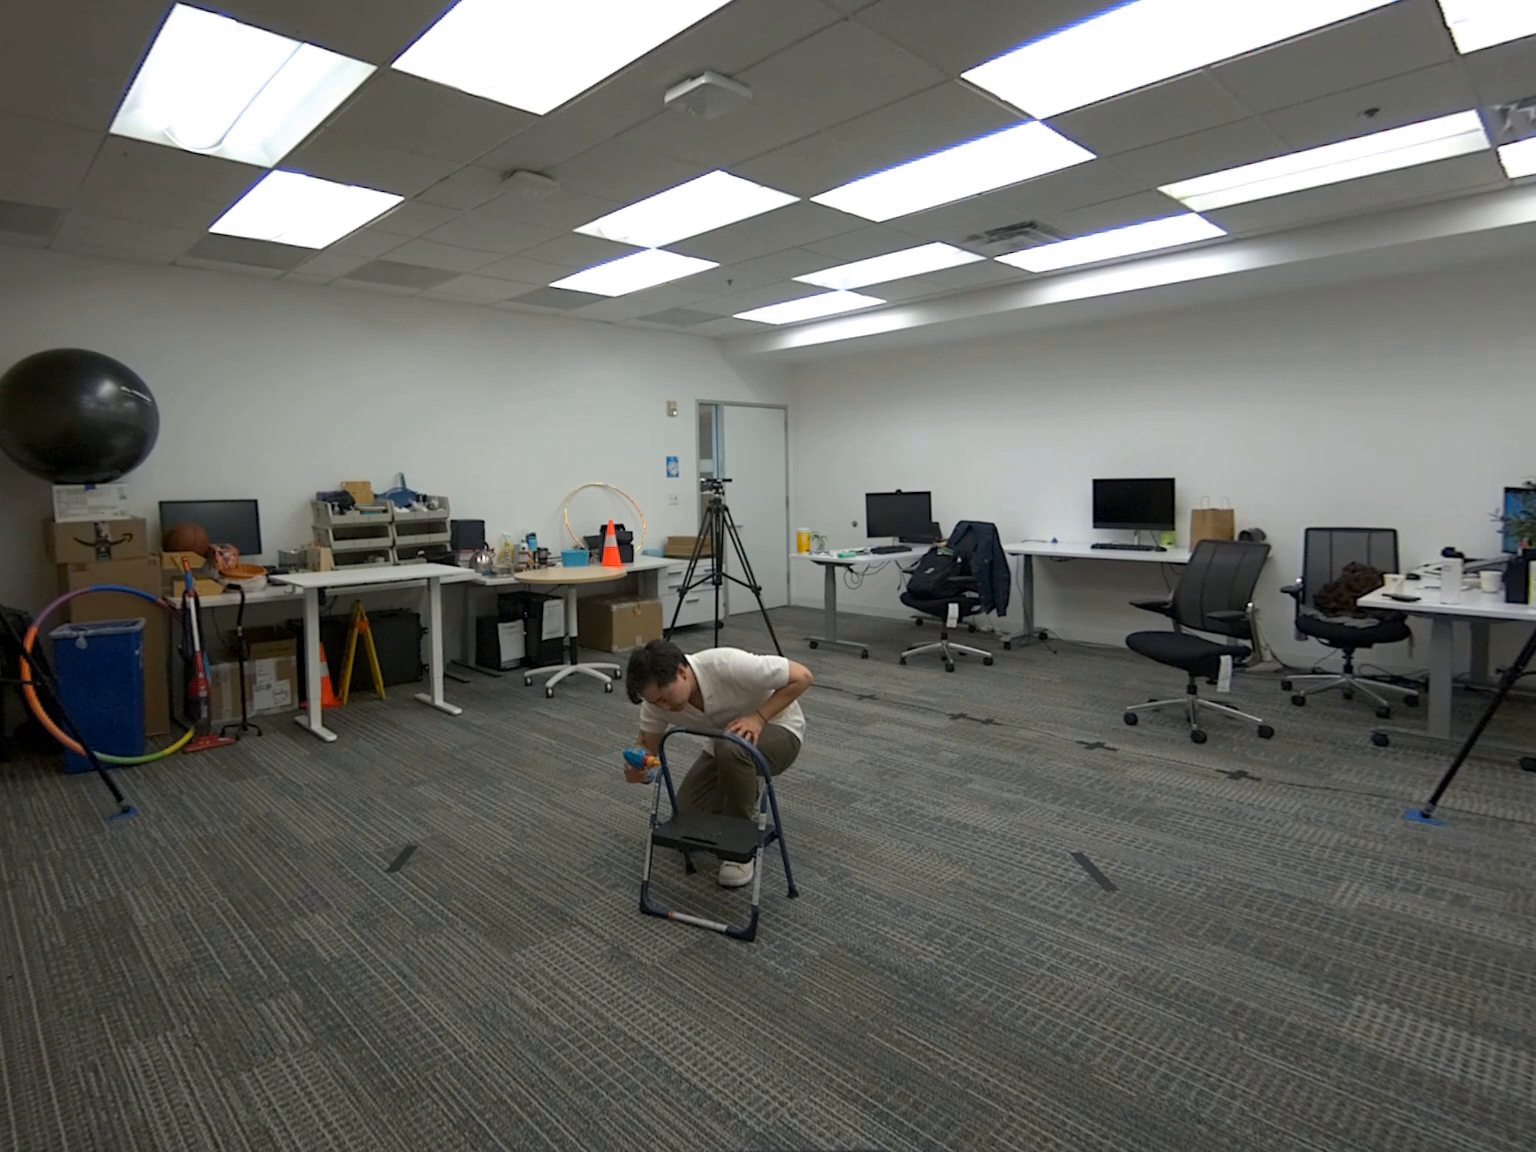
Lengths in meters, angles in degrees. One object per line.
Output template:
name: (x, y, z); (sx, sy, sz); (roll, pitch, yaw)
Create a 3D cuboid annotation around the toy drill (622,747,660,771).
toy drill: (-0.412, 0.652, 2.951); (0.174, 0.141, 0.061); (6, 49, 31)
